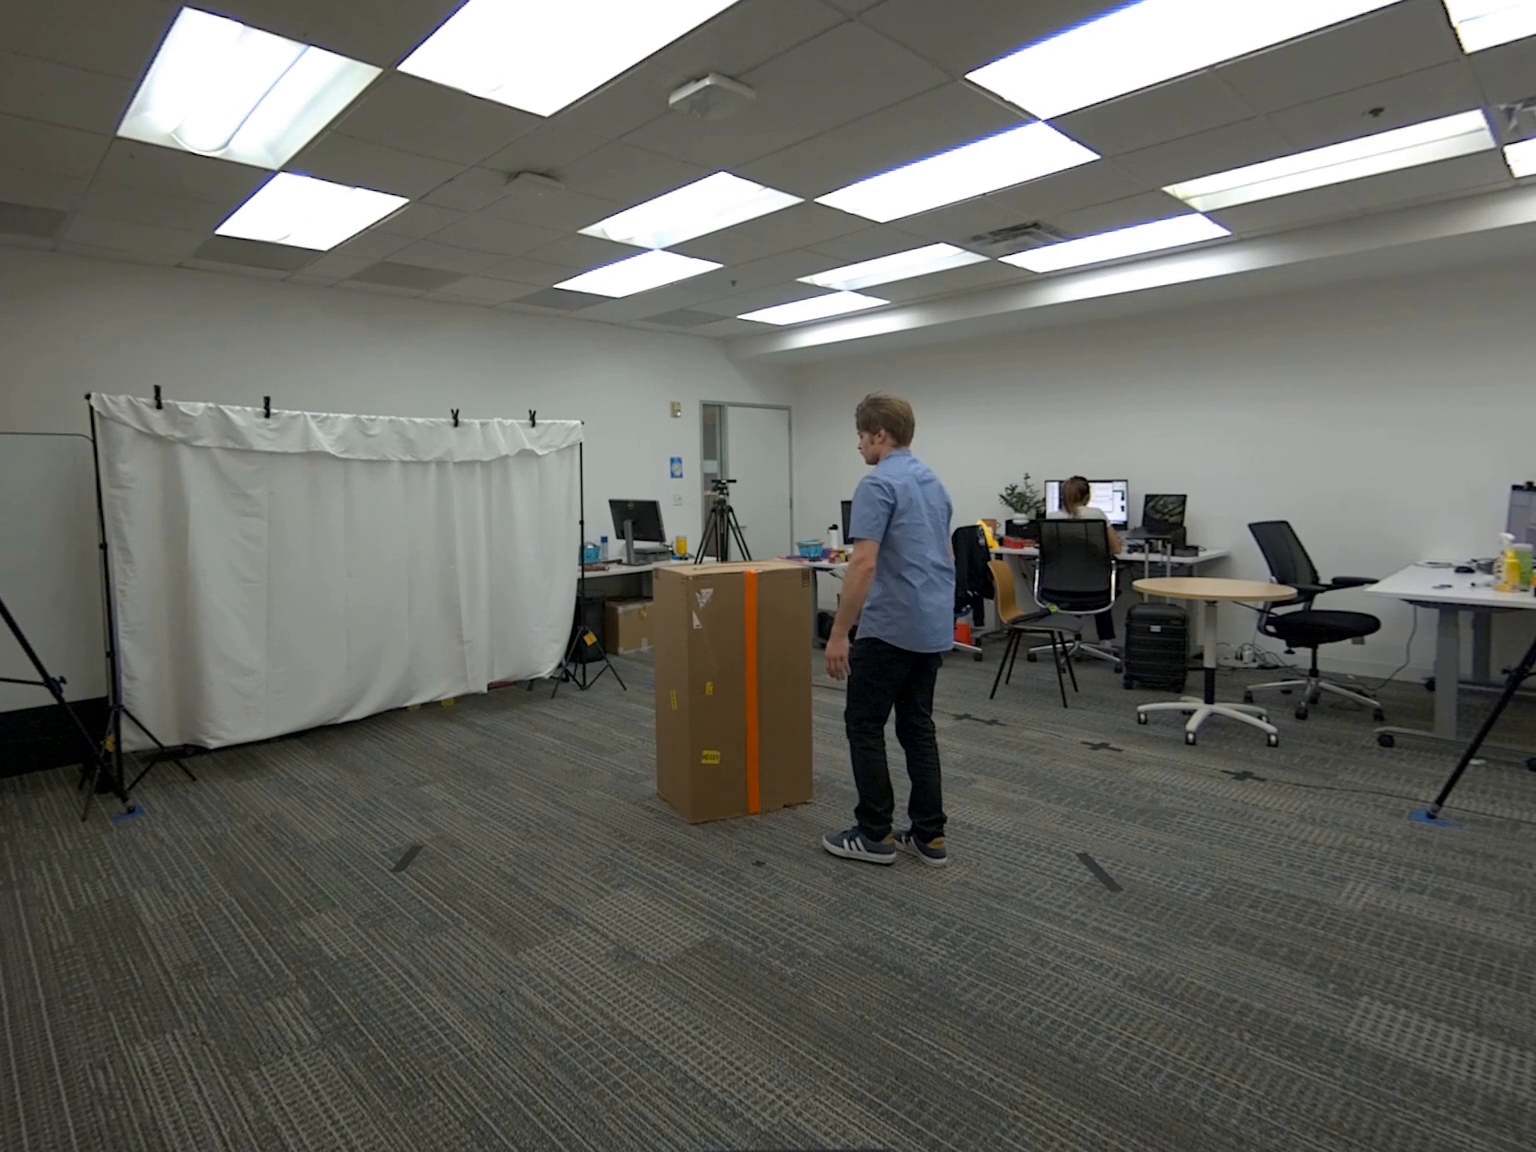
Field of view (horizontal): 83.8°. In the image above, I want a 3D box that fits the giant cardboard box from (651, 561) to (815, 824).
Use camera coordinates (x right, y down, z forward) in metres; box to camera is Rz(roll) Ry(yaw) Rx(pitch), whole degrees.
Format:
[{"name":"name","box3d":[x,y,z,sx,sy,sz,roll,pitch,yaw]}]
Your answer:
[{"name":"giant cardboard box","box3d":[-0.158,0.470,3.748,0.565,1.023,0.436,-3,4,-25]}]
